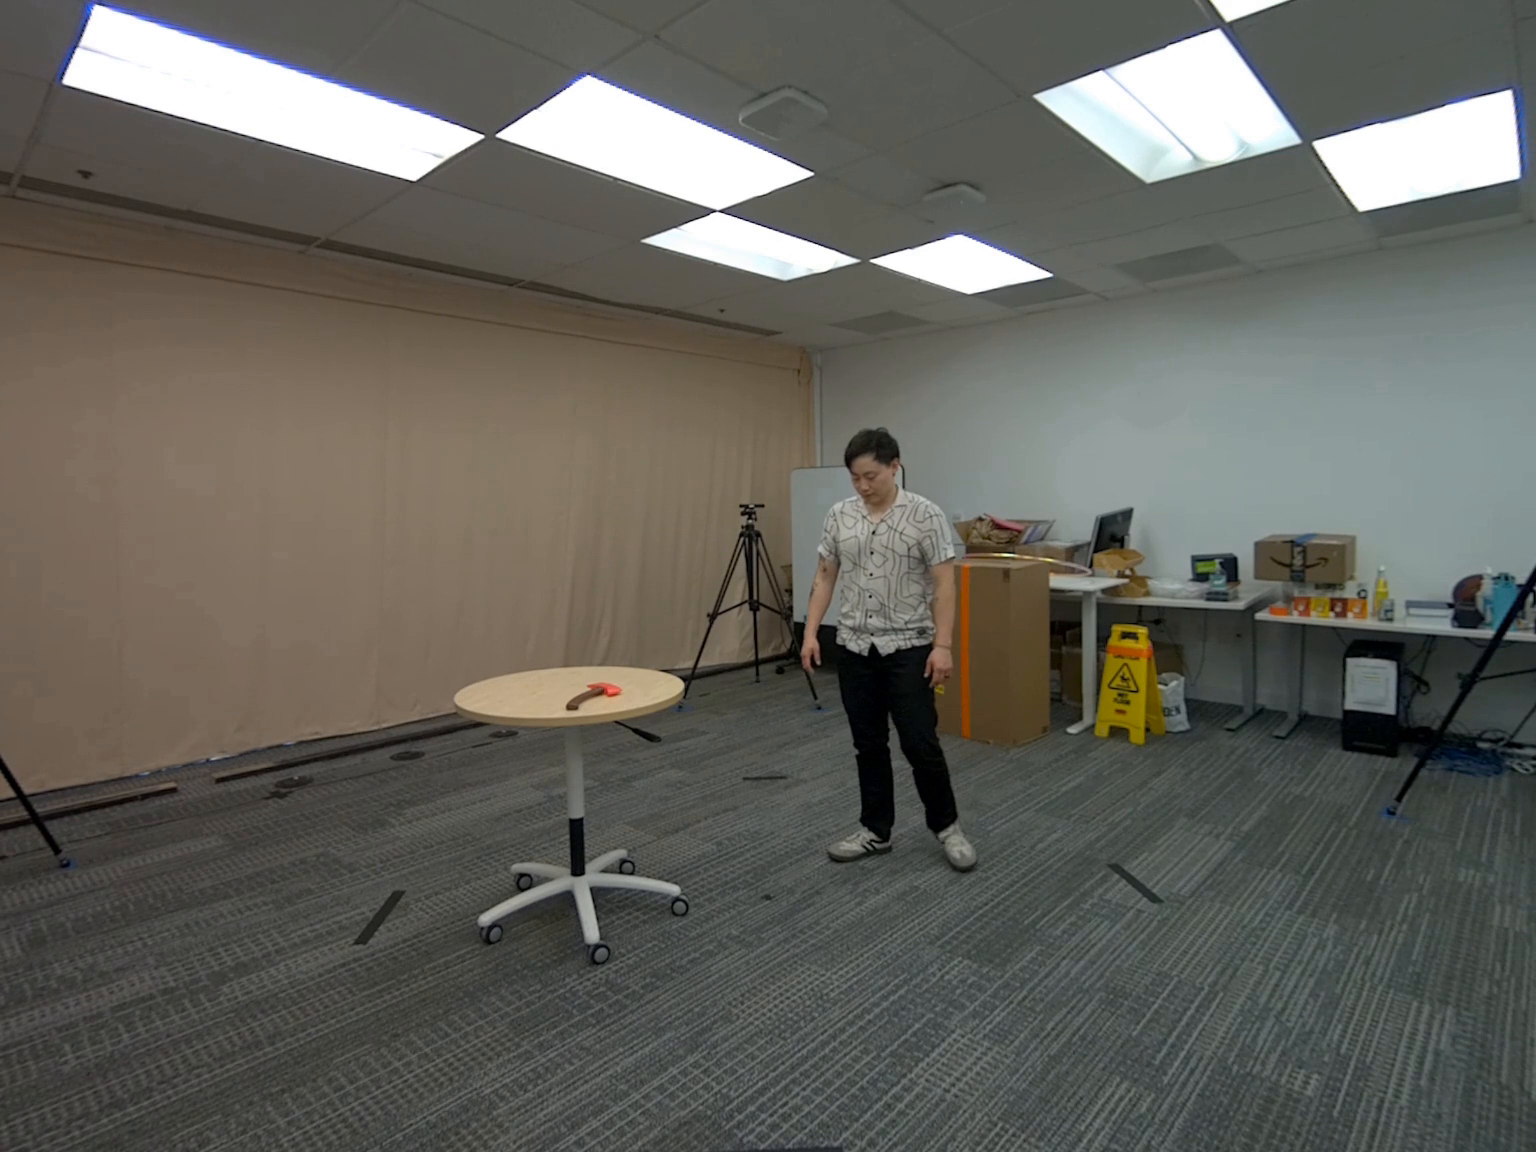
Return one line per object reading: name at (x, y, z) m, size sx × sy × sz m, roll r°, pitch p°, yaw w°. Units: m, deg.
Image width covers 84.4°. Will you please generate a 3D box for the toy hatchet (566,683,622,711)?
toy hatchet at (-0.550, 0.388, 2.672) m, size 0.131 × 0.029 × 0.270 m, roll 2°, pitch 7°, yaw 2°
